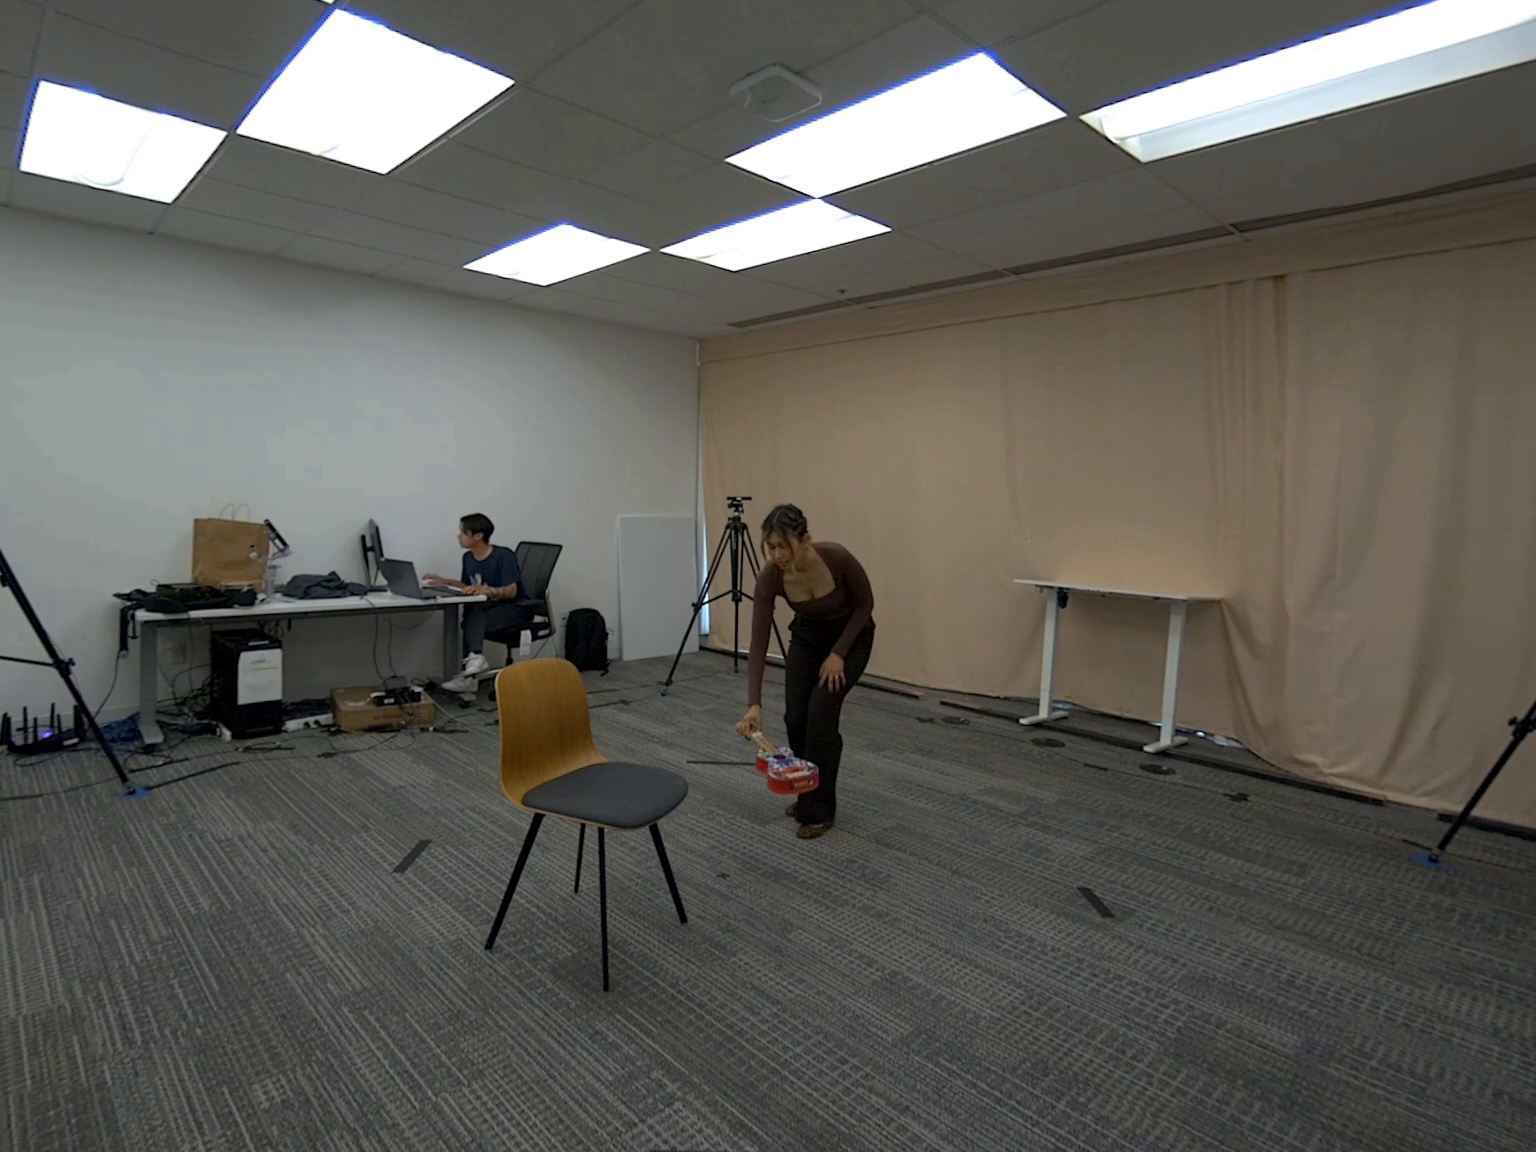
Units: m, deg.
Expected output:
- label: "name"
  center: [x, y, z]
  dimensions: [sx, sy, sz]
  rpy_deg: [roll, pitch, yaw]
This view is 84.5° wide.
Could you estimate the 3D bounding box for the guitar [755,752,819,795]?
- label: "guitar"
  center: [0.034, 0.687, 3.250]
  dimensions: [0.191, 0.070, 0.508]
  rpy_deg: [-3, 15, -15]
